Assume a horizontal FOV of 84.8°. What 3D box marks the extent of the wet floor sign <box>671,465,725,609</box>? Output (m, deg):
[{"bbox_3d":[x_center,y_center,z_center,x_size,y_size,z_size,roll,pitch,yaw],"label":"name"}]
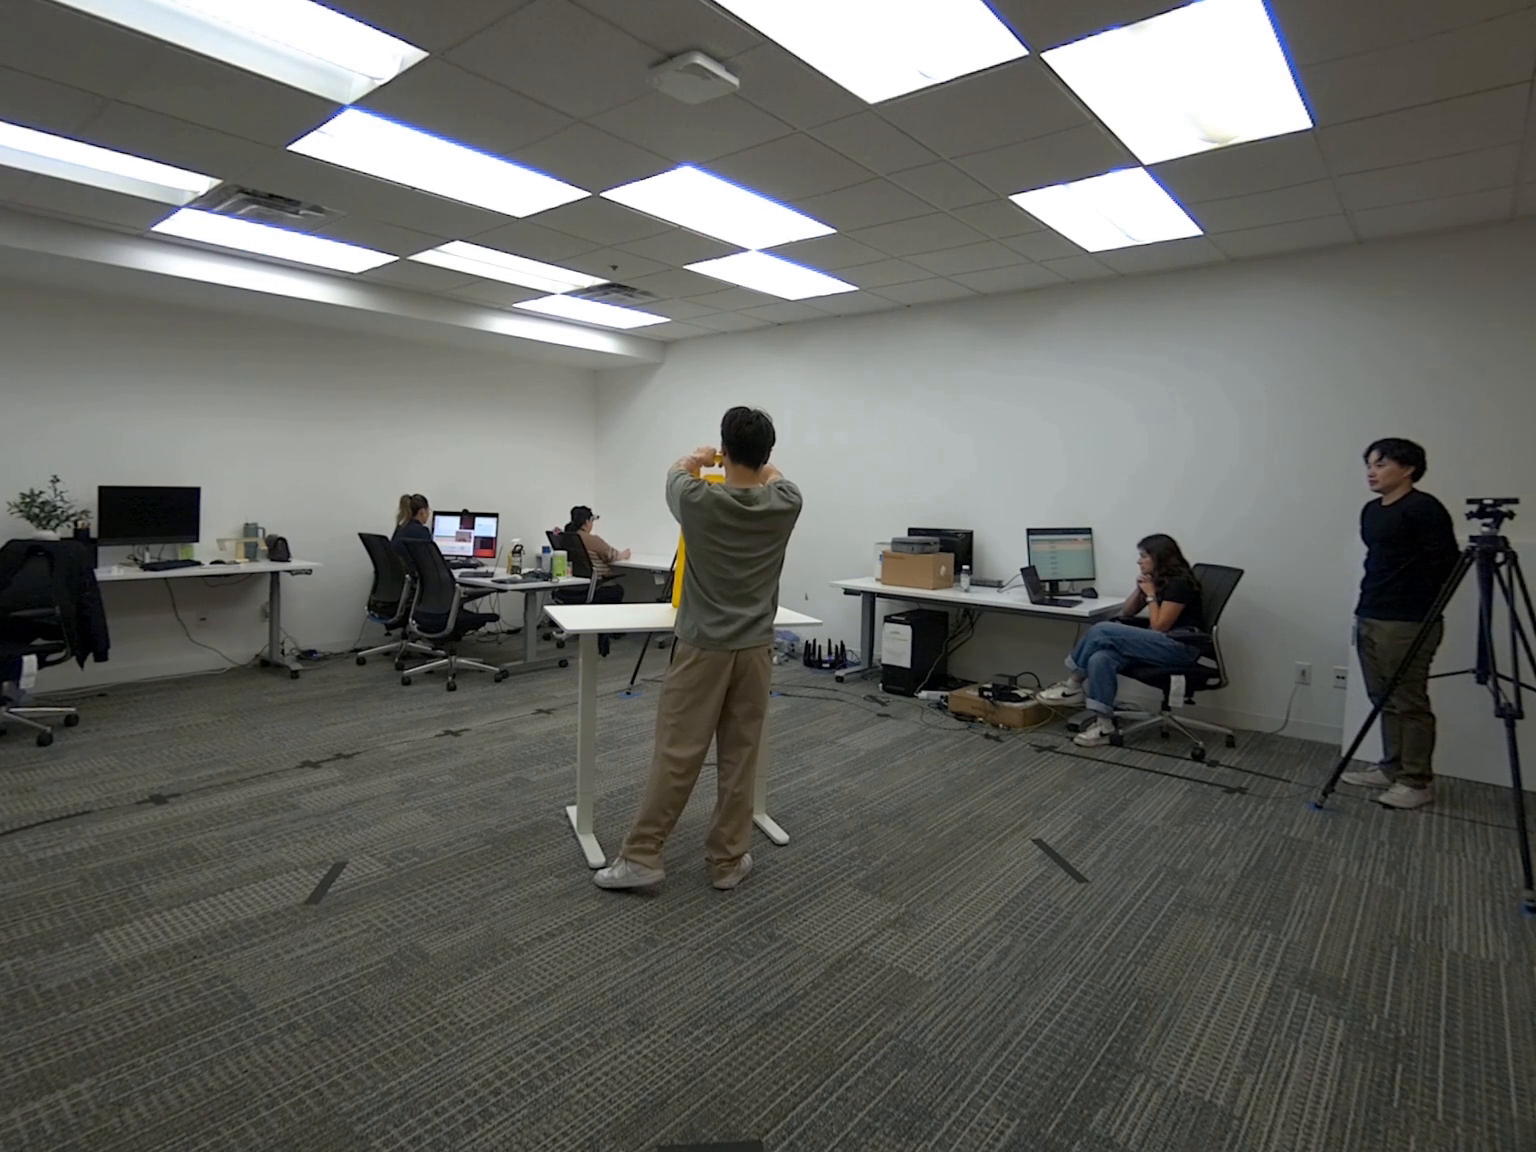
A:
[{"bbox_3d":[-0.229,-0.175,3.485,0.278,0.645,0.294,2,3,-14],"label":"wet floor sign"}]
